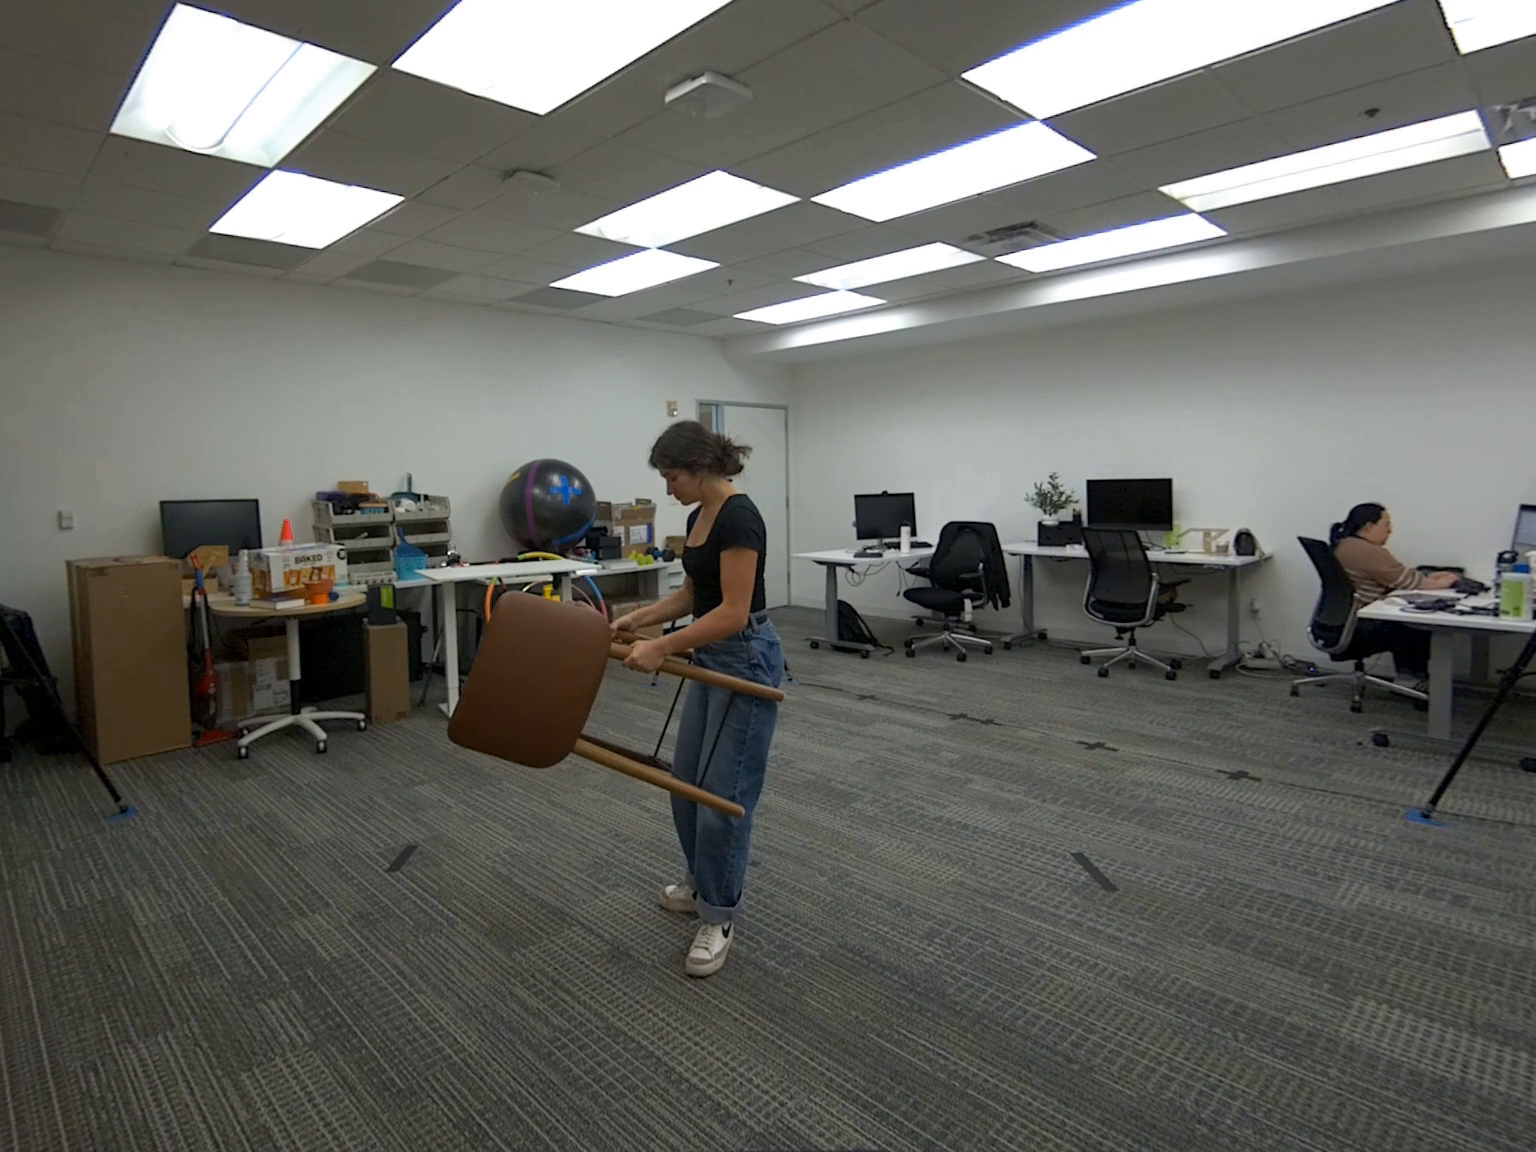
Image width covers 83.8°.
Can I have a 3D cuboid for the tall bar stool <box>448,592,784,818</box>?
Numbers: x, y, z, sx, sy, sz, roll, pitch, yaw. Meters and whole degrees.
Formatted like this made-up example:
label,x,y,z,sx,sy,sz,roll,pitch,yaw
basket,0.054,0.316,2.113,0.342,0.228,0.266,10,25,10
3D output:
label,x,y,z,sx,sy,sz,roll,pitch,yaw
tall bar stool,-0.462,0.353,2.475,0.864,0.458,0.480,24,-7,-26
